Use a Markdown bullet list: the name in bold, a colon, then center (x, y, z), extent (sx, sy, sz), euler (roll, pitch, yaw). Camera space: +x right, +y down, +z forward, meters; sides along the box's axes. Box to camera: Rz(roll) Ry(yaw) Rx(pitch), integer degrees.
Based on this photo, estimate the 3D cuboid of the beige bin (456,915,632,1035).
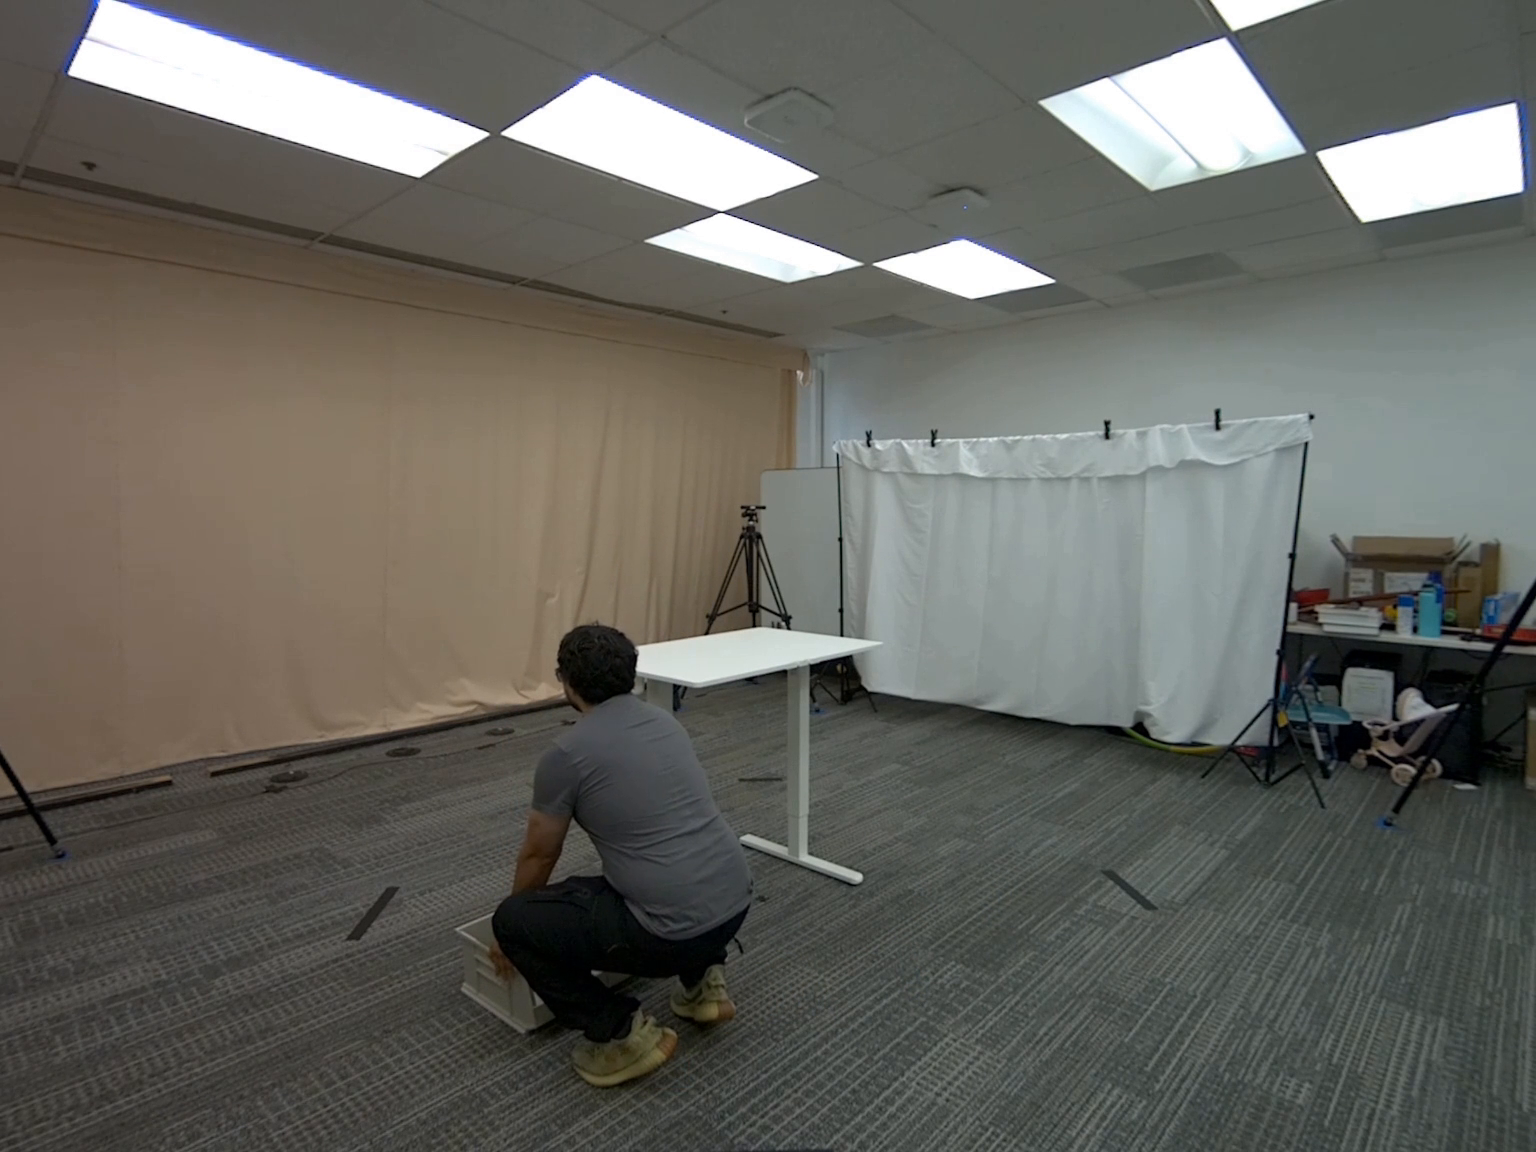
- **beige bin**: center (-0.624, 1.103, 2.459), extent (0.390, 0.188, 0.410), euler (3, 7, 41)
